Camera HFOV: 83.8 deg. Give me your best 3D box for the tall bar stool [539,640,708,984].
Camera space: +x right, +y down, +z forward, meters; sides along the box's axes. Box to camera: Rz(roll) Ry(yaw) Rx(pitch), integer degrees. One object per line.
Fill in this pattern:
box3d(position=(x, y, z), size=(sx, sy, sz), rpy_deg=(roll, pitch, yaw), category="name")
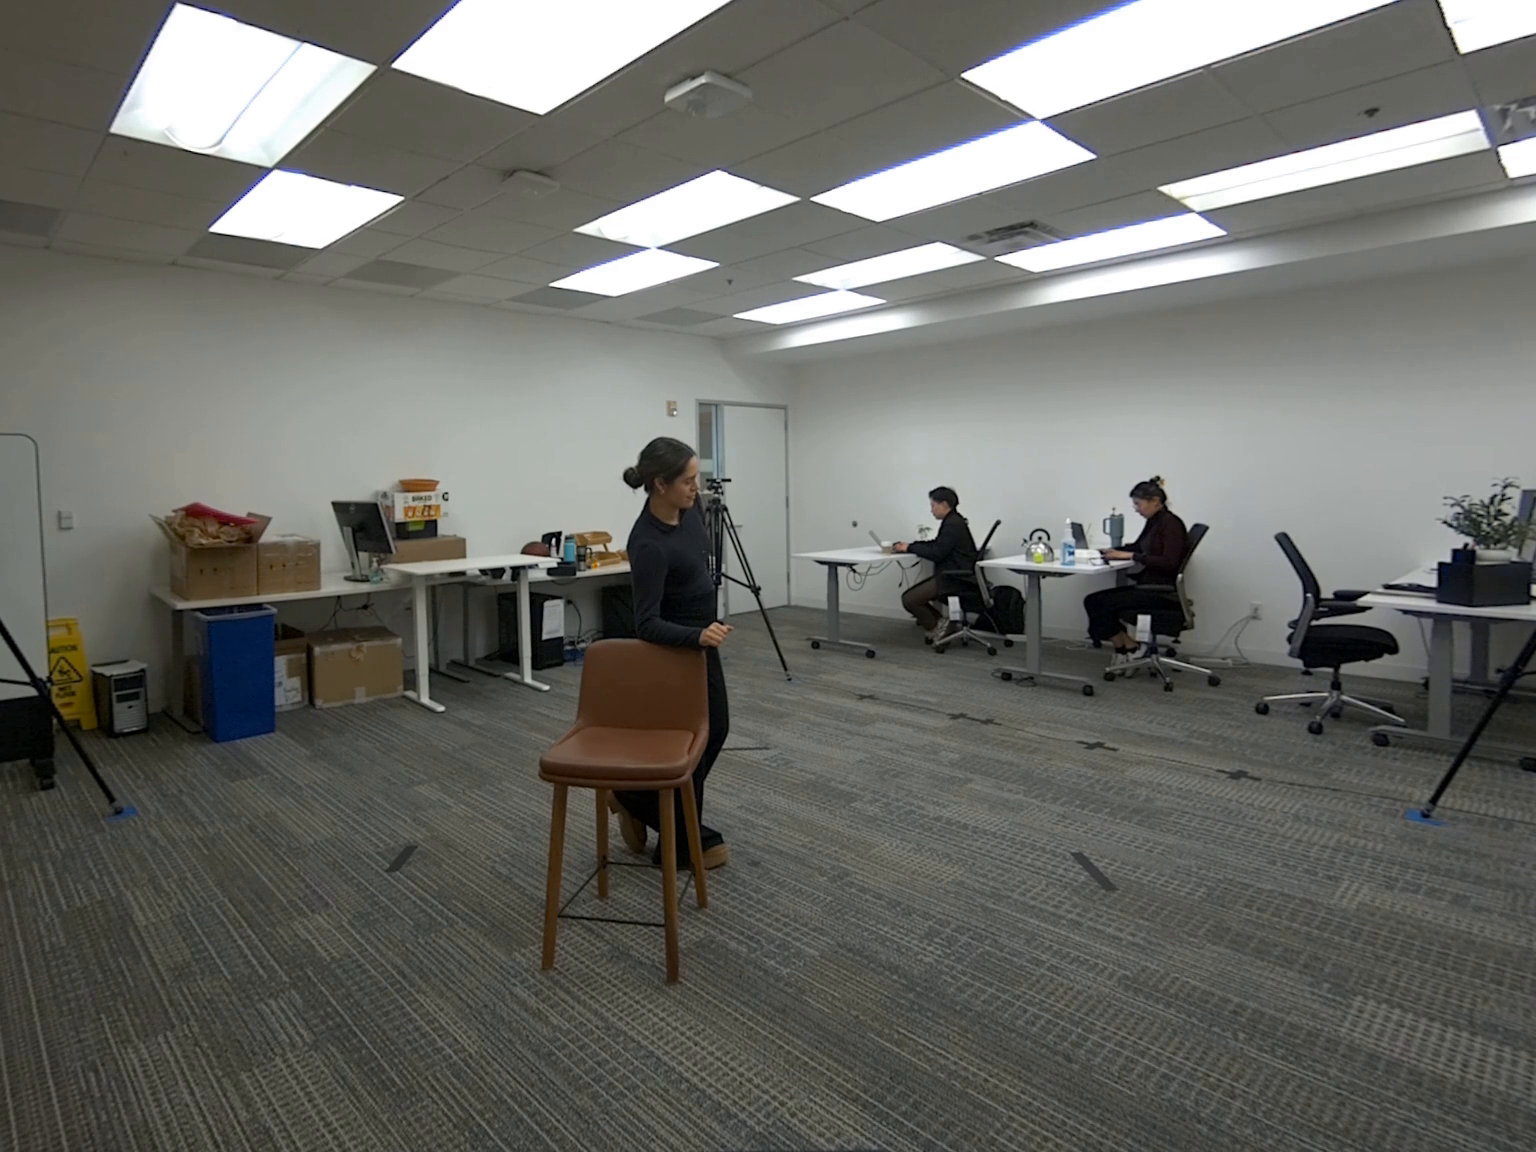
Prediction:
box3d(position=(-0.426, 0.676, 2.605), size=(0.462, 0.888, 0.463), rpy_deg=(0, 2, 11), category="tall bar stool")
